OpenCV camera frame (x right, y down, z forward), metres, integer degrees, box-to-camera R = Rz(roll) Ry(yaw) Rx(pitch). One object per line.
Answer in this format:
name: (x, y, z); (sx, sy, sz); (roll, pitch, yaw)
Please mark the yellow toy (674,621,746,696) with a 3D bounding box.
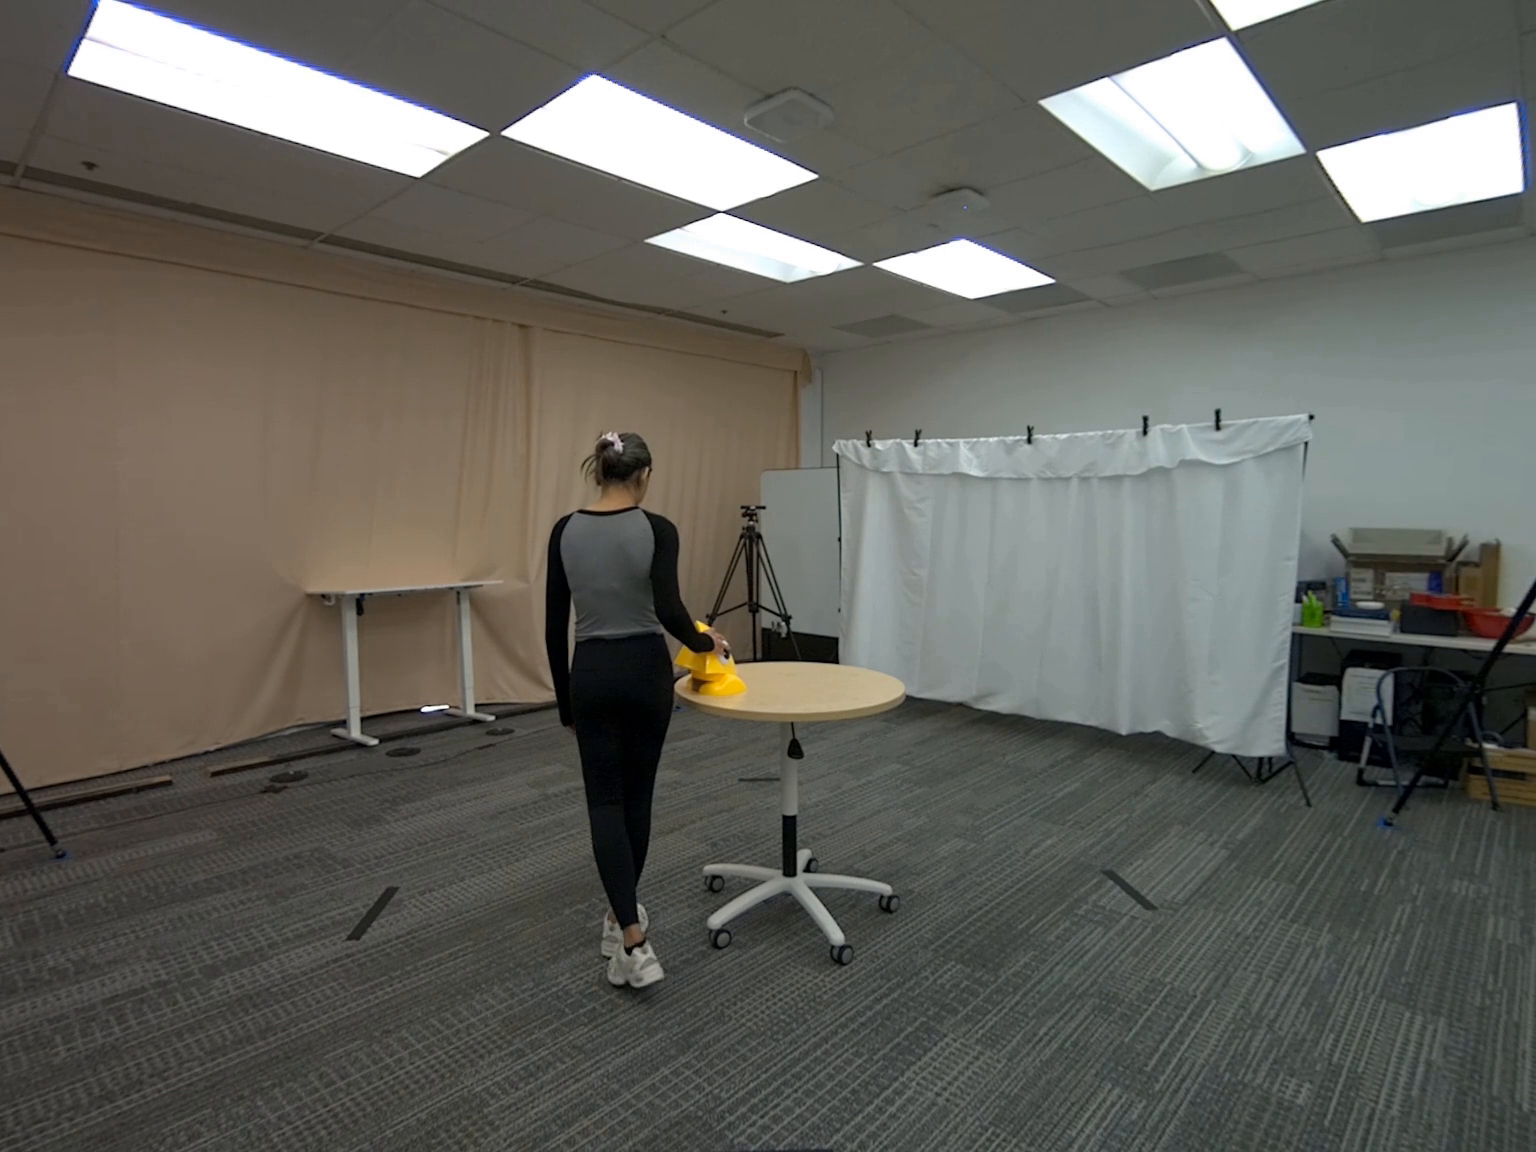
yellow toy: (-0.178, 0.258, 2.763); (0.187, 0.230, 0.211); (-3, 5, -34)
